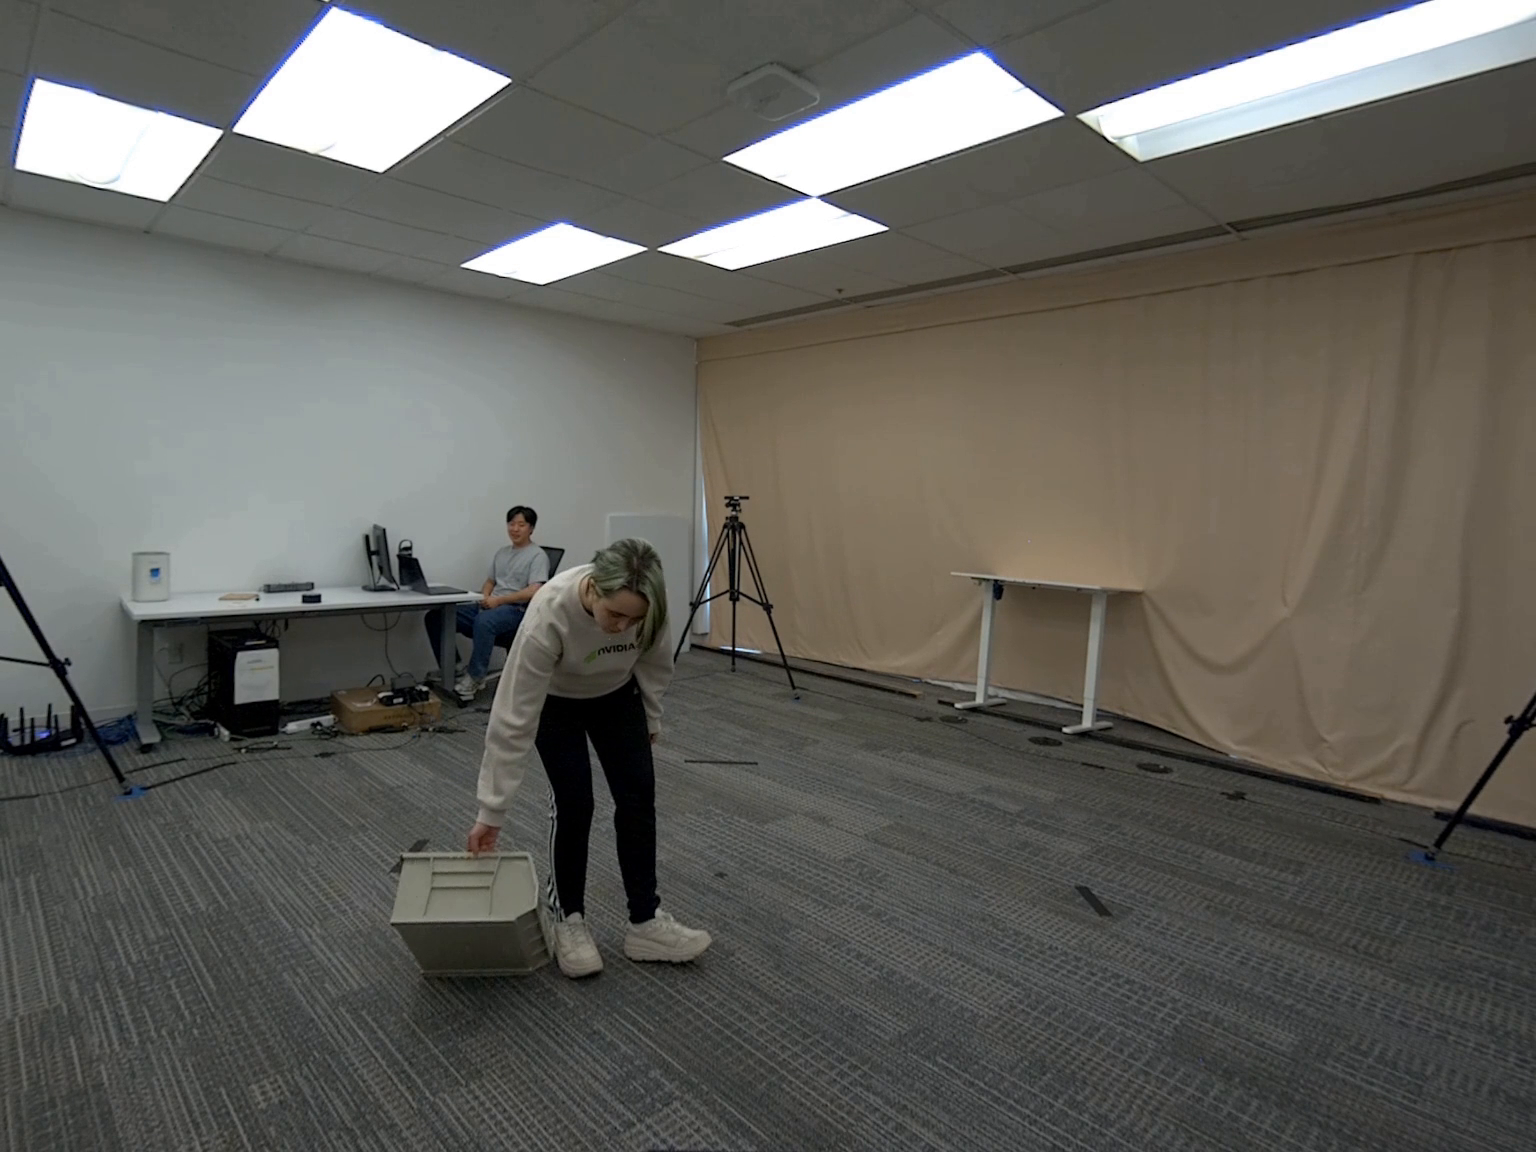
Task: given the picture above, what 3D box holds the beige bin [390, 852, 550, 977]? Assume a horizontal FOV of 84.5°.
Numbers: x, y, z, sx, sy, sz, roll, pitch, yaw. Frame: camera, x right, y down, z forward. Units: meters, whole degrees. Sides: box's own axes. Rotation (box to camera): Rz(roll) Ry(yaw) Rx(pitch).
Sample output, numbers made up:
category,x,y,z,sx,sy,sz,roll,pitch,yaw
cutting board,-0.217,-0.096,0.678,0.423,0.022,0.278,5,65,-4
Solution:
category,x,y,z,sx,sy,sz,roll,pitch,yaw
beige bin,-0.810,0.955,2.323,0.376,0.193,0.414,0,-42,-6
